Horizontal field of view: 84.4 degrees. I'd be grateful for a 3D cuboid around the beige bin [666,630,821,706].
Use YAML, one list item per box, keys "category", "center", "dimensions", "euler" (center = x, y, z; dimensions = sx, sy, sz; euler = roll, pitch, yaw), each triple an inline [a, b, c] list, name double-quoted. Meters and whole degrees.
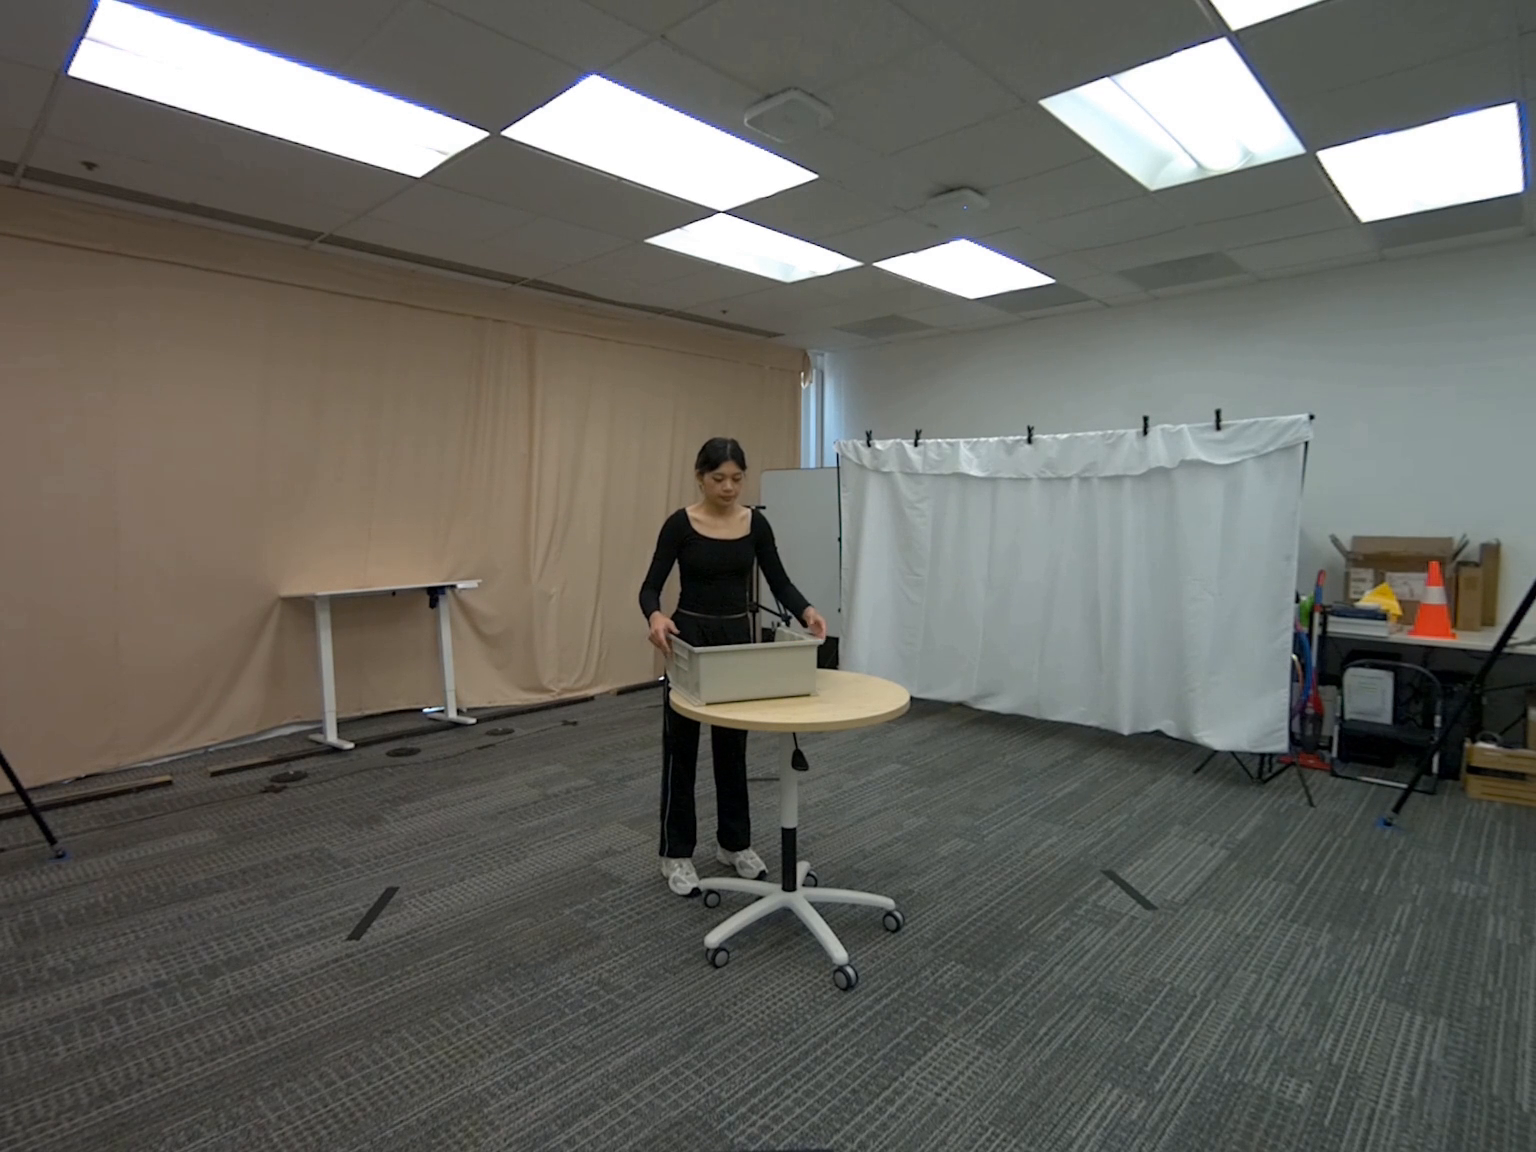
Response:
- category: "beige bin"
  center: [-0.089, 0.275, 2.751]
  dimensions: [0.414, 0.188, 0.386]
  euler: [-3, 7, -20]
